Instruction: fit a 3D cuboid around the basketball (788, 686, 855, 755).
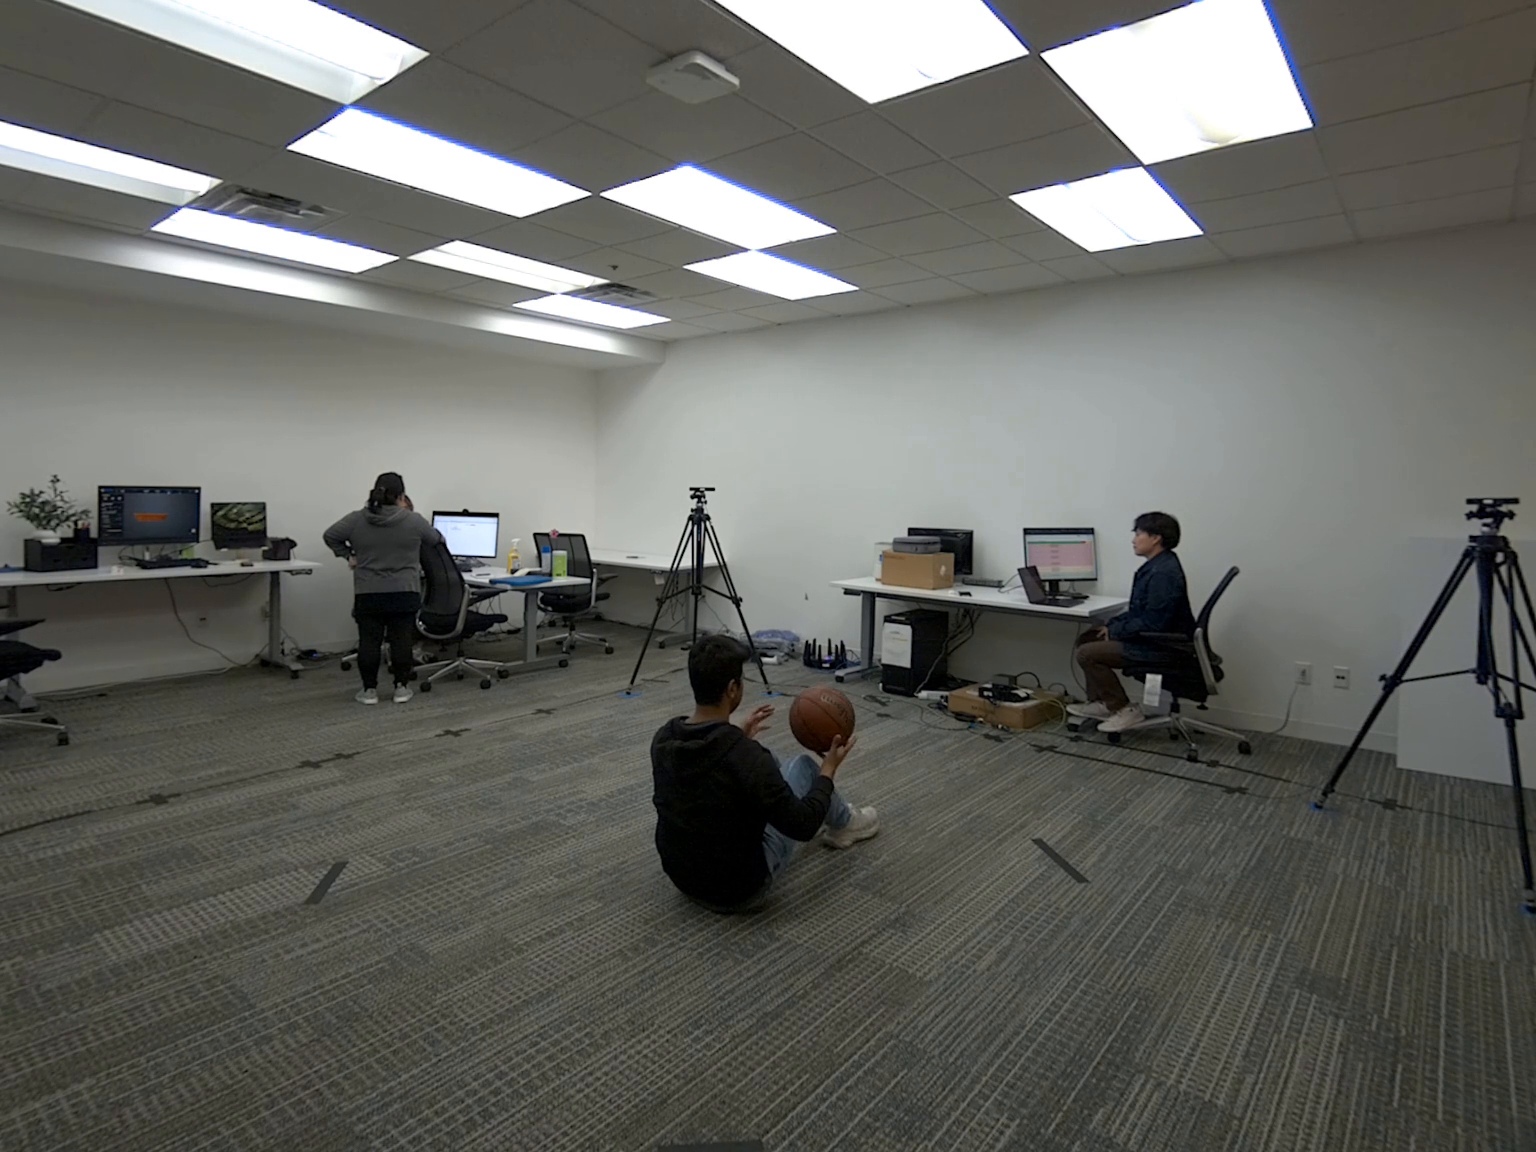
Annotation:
[{"bbox_3d":[0.179,0.517,3.079,0.235,0.235,0.237,1,4,-2],"label":"basketball"}]
